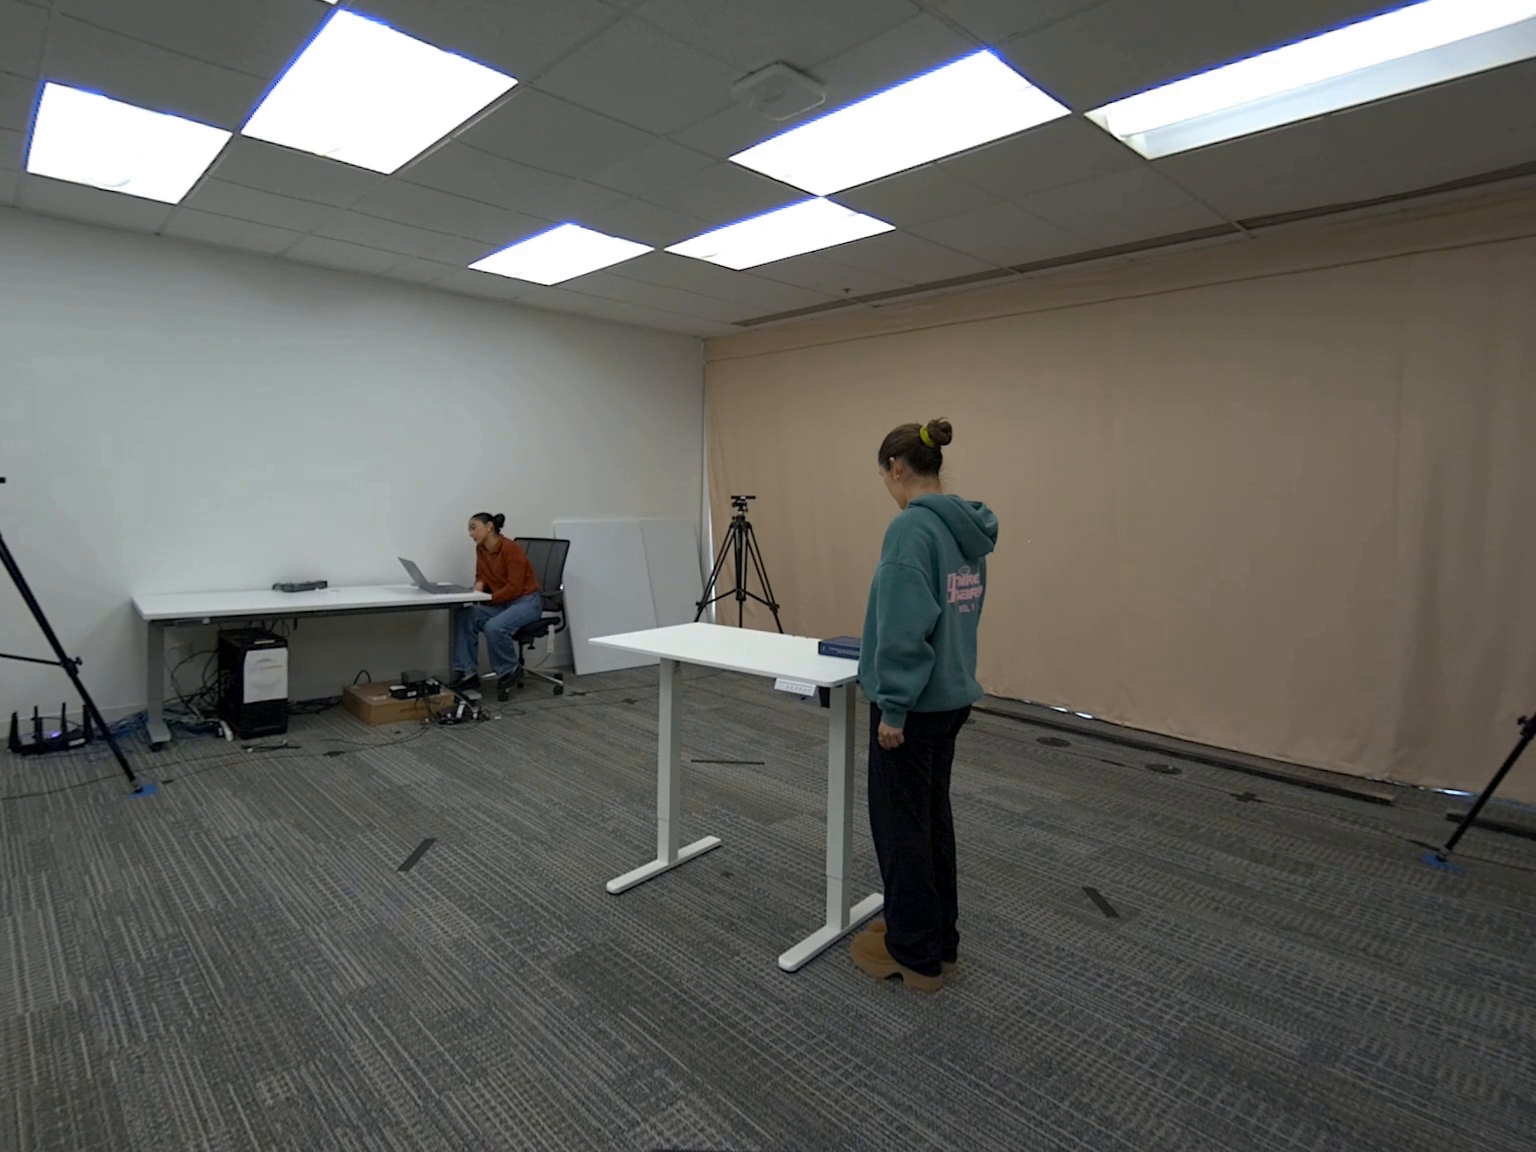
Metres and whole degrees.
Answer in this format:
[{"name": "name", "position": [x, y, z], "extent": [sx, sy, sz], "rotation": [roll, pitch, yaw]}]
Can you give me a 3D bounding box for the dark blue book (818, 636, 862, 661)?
[{"name": "dark blue book", "position": [0.305, 0.243, 2.745], "extent": [0.251, 0.045, 0.160], "rotation": [5, 7, 34]}]
